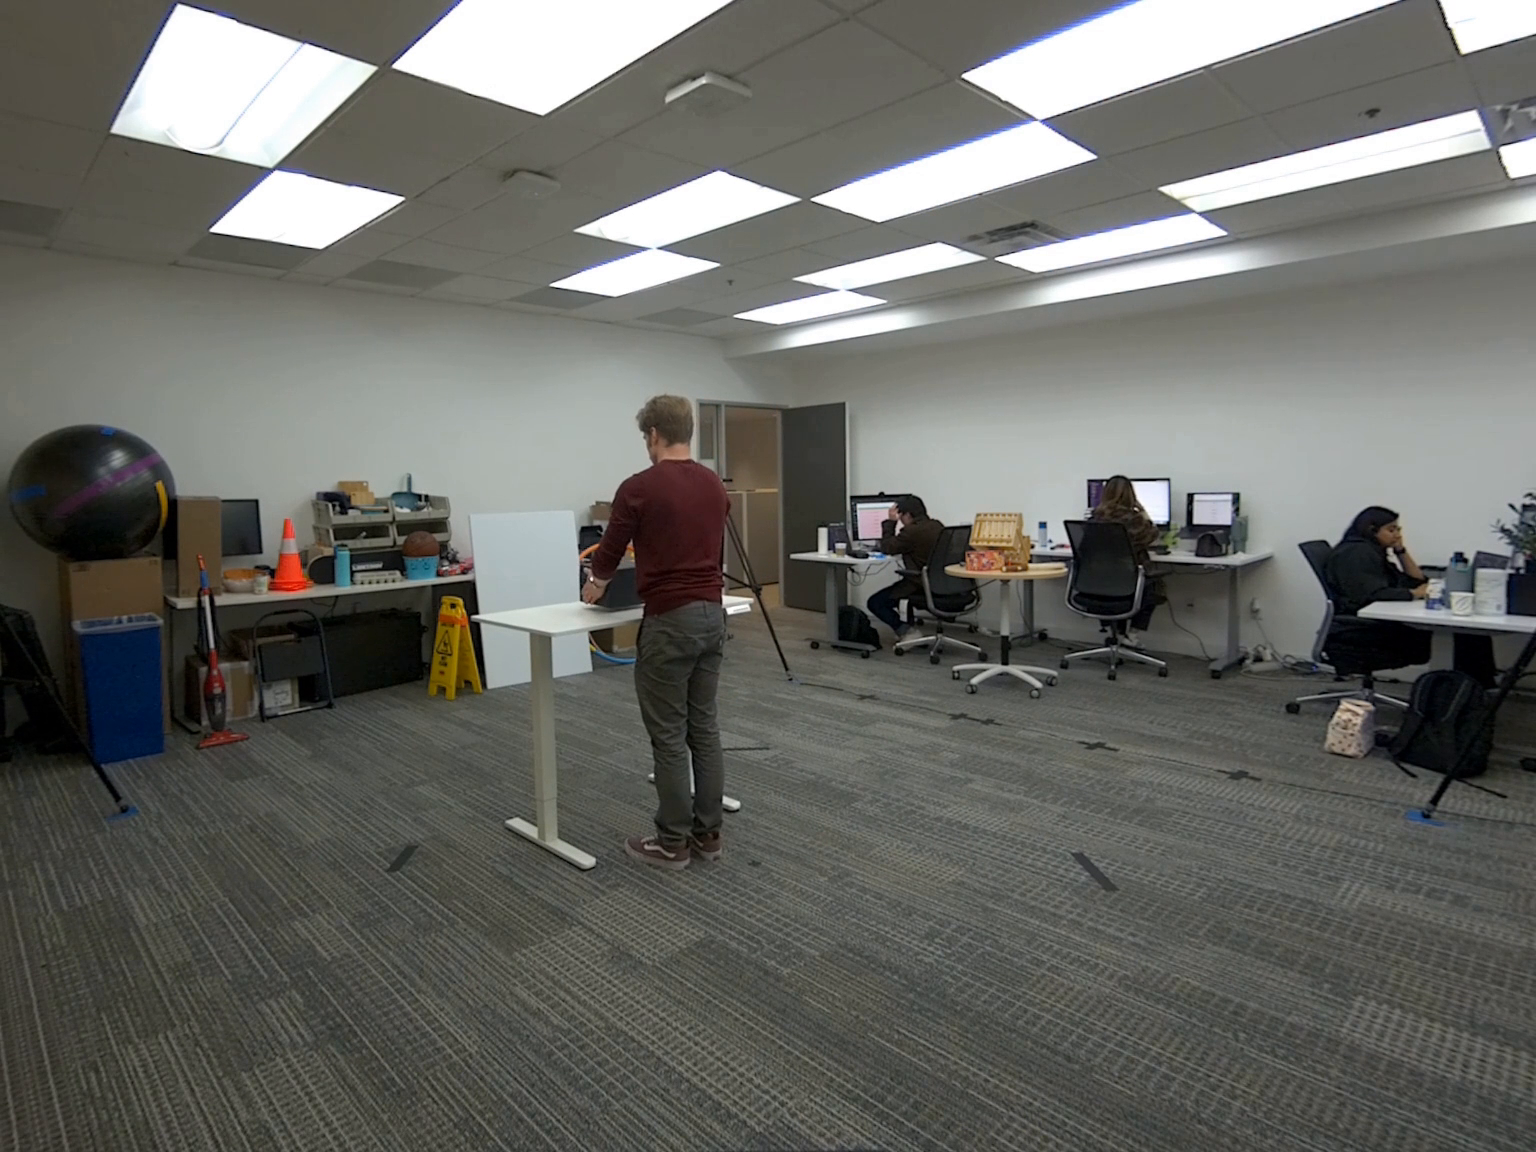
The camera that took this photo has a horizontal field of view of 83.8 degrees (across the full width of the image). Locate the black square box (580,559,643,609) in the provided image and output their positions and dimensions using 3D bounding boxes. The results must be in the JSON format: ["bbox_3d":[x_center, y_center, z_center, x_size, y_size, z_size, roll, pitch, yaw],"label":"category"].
[{"bbox_3d":[-0.606,0.026,3.488,0.222,0.155,0.224,-6,9,-44],"label":"black square box"}]
